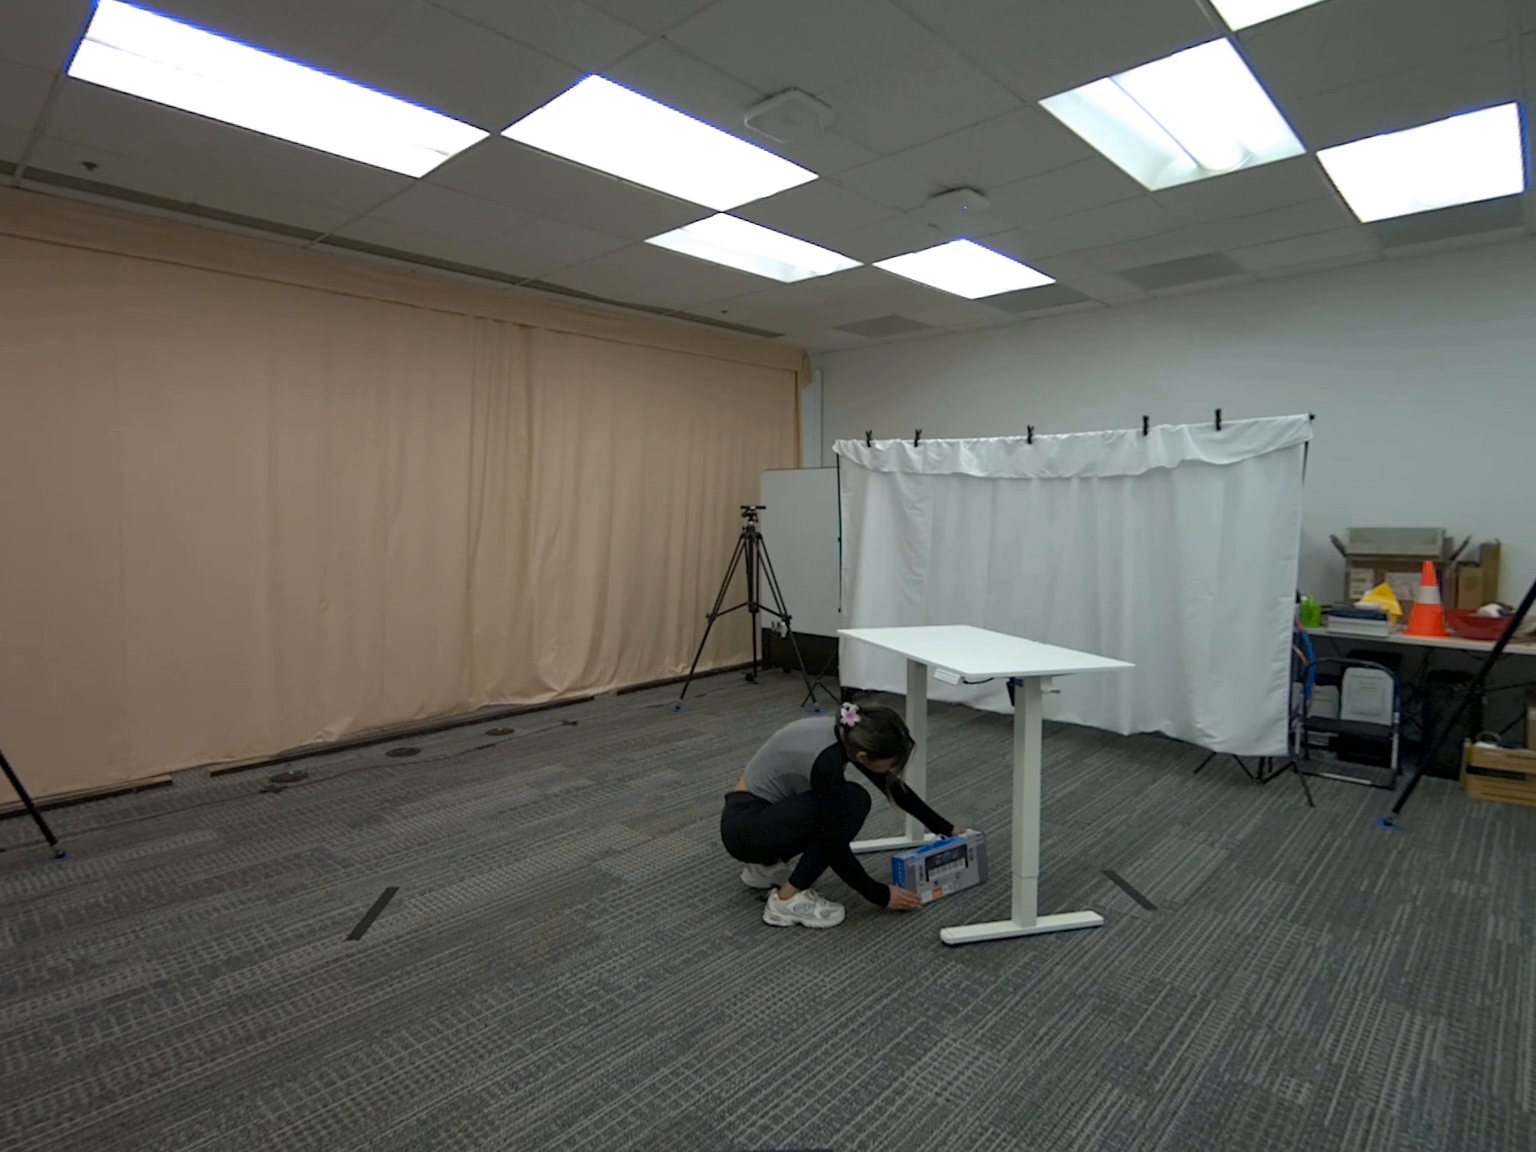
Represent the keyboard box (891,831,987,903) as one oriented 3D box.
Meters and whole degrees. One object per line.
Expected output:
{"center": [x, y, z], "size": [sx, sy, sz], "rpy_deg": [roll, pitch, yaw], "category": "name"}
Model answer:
{"center": [0.631, 1.057, 3.015], "size": [0.424, 0.176, 0.061], "rpy_deg": [-2, -2, -34], "category": "keyboard box"}
